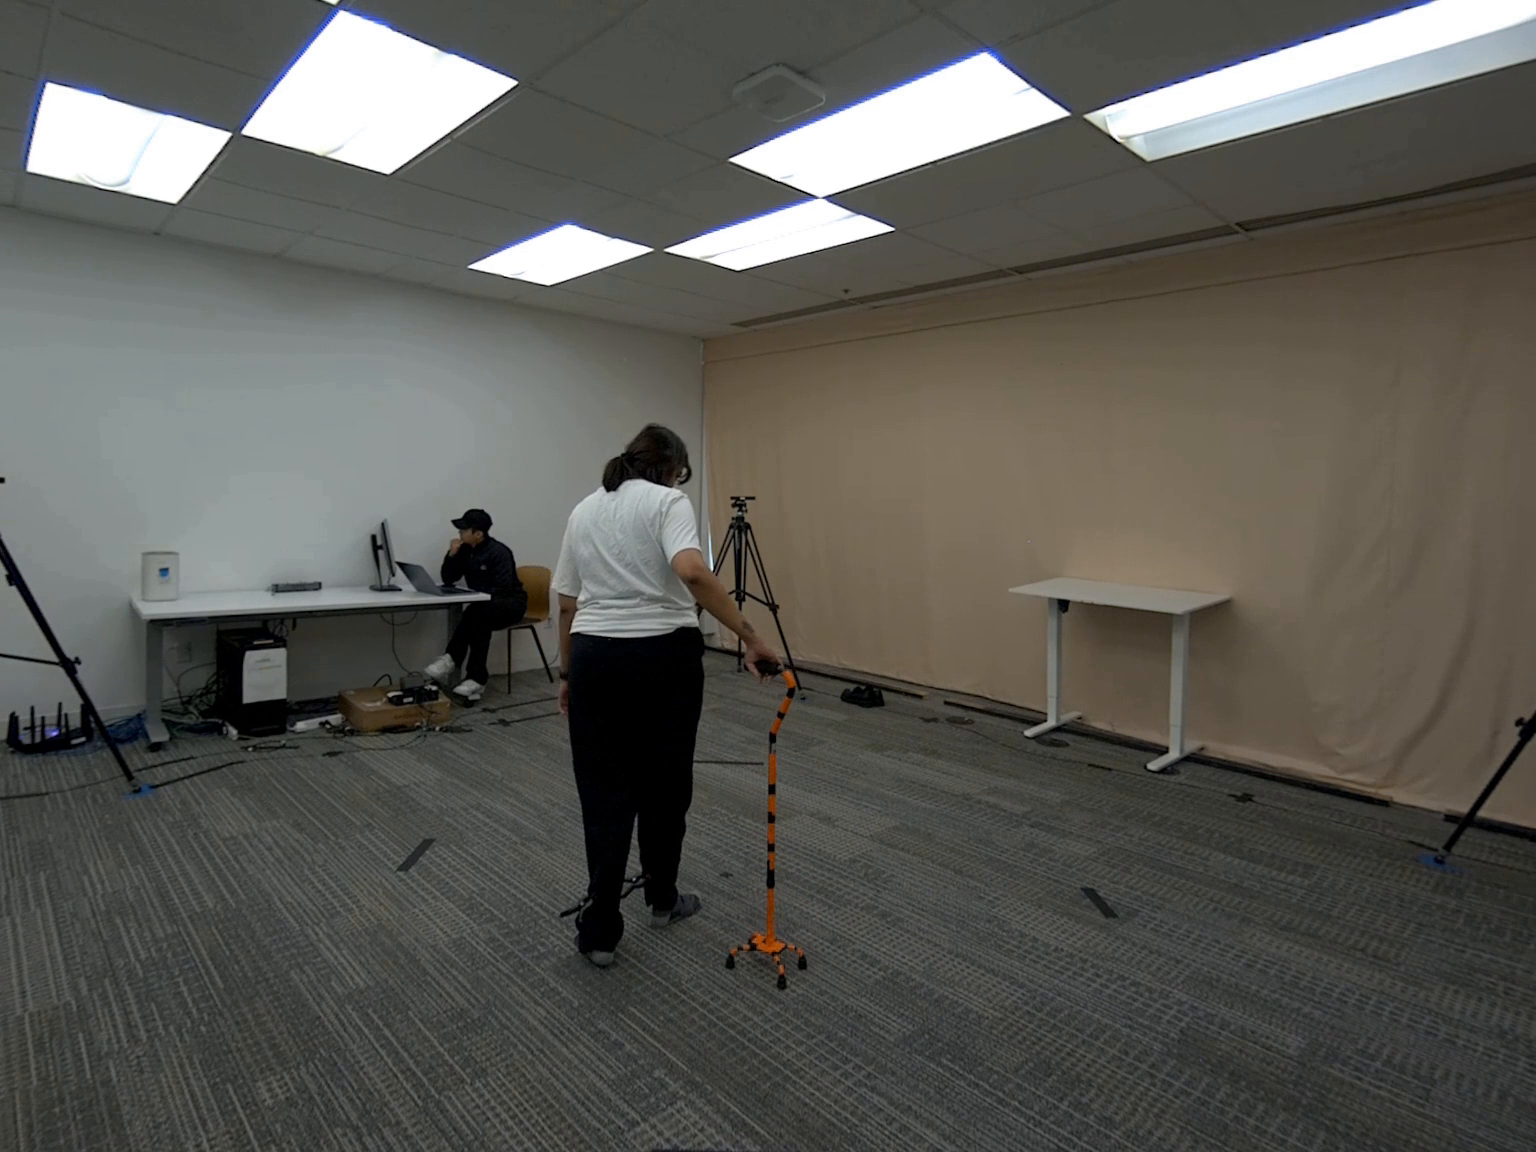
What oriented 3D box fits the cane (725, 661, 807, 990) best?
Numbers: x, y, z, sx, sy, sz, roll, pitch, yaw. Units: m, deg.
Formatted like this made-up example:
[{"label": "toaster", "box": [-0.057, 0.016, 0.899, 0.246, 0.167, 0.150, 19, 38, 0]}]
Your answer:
[{"label": "cane", "box": [-0.003, 0.715, 2.467, 0.211, 0.905, 0.149, 3, 4, 31]}]
